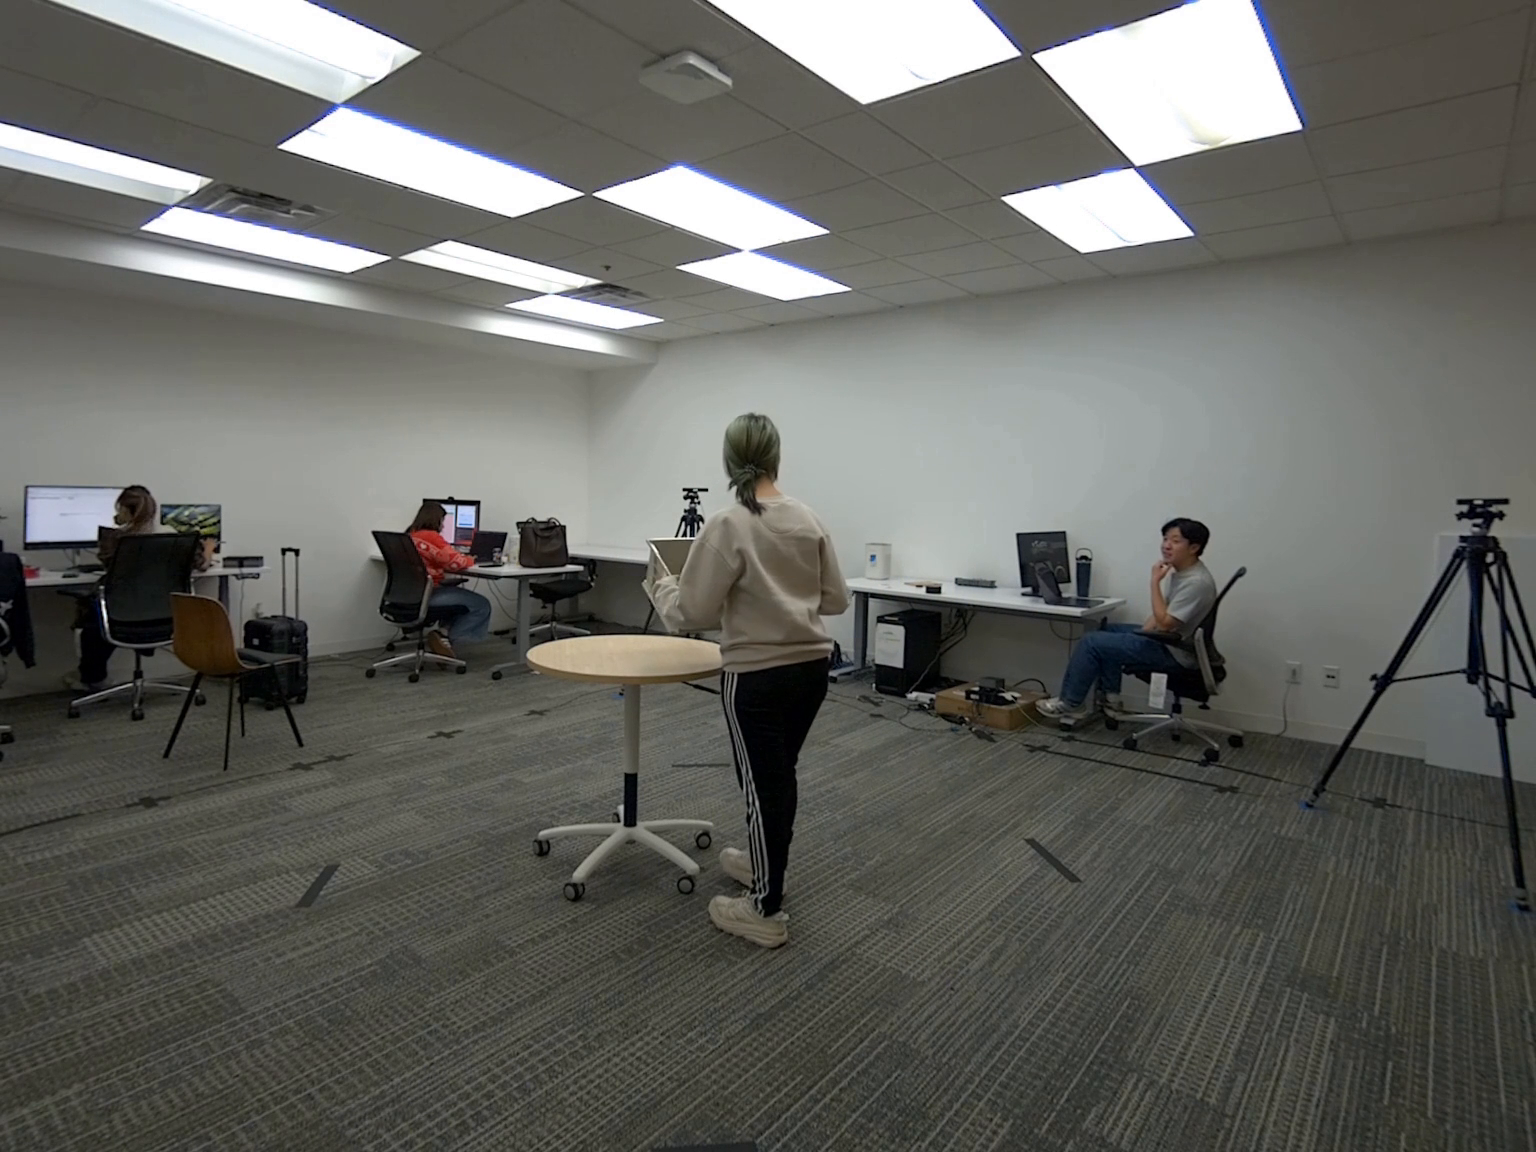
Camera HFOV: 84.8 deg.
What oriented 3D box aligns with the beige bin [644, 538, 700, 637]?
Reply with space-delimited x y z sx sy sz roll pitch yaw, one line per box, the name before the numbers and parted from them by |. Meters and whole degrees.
beige bin | -0.191 0.033 2.964 0.412 0.186 0.393 -3 30 -25
